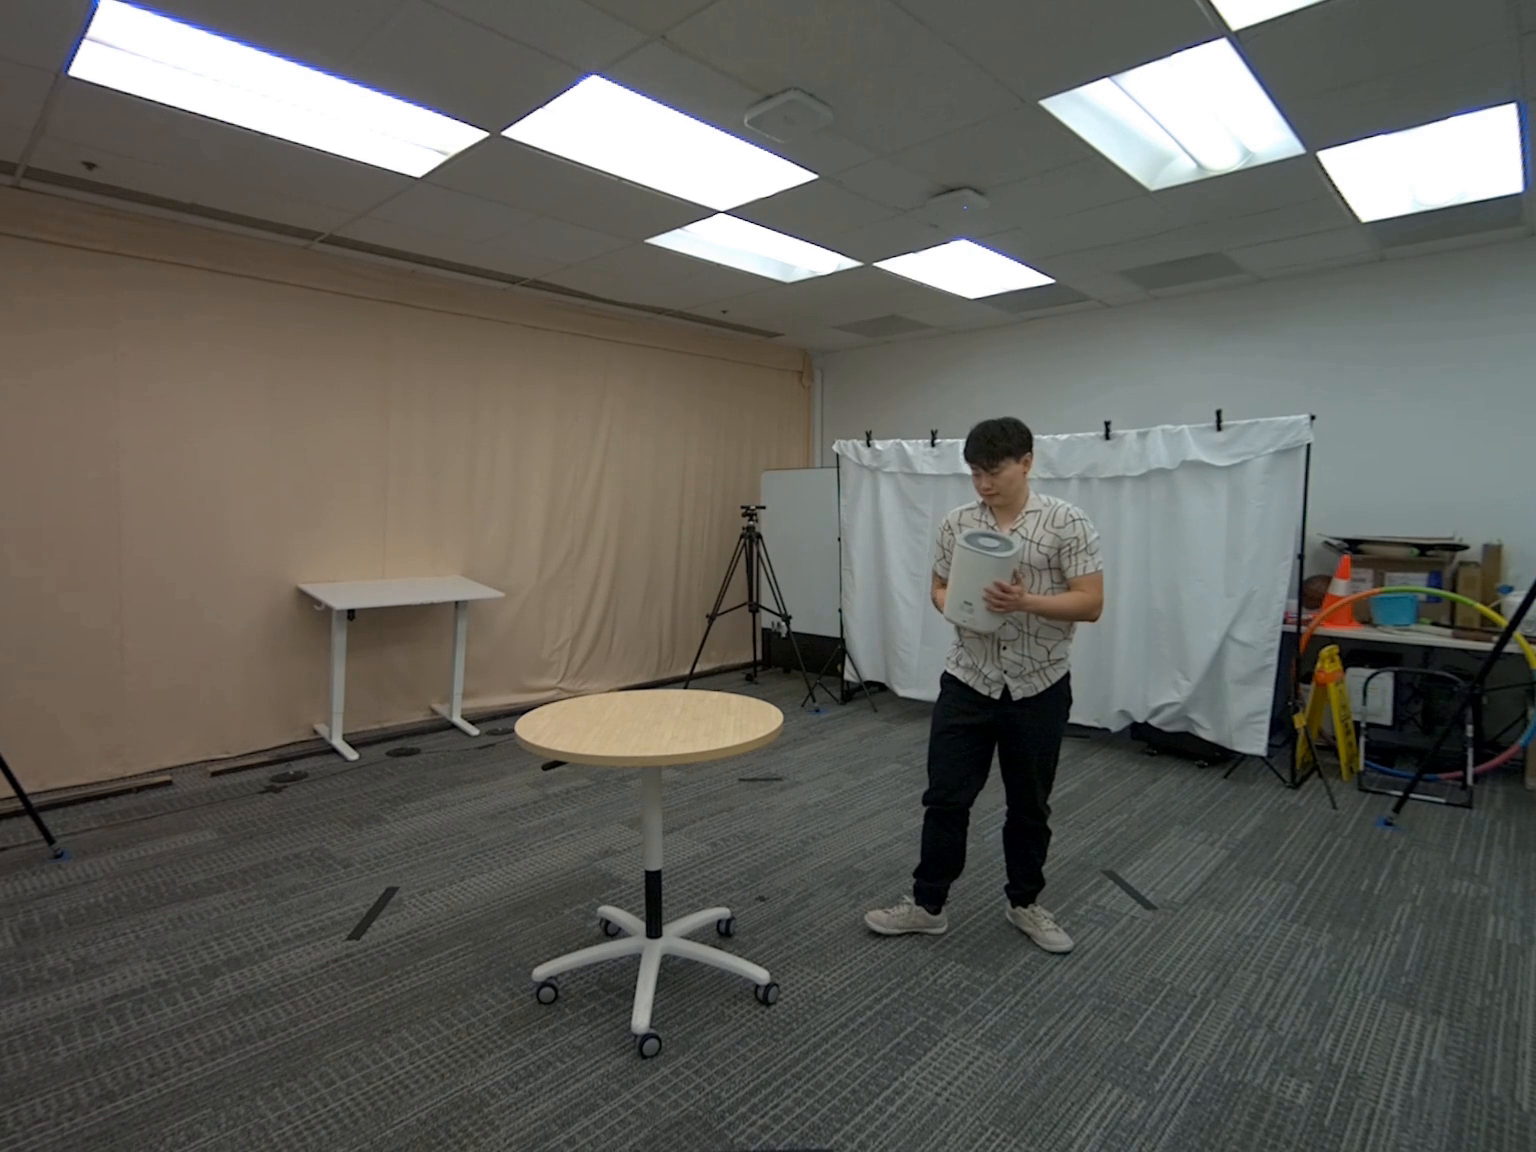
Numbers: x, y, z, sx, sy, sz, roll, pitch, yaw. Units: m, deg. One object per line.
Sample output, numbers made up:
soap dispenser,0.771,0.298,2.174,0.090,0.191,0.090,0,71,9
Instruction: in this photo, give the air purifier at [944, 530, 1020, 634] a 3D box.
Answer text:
air purifier,0.633,0.019,2.509,0.176,0.262,0.168,21,30,29
